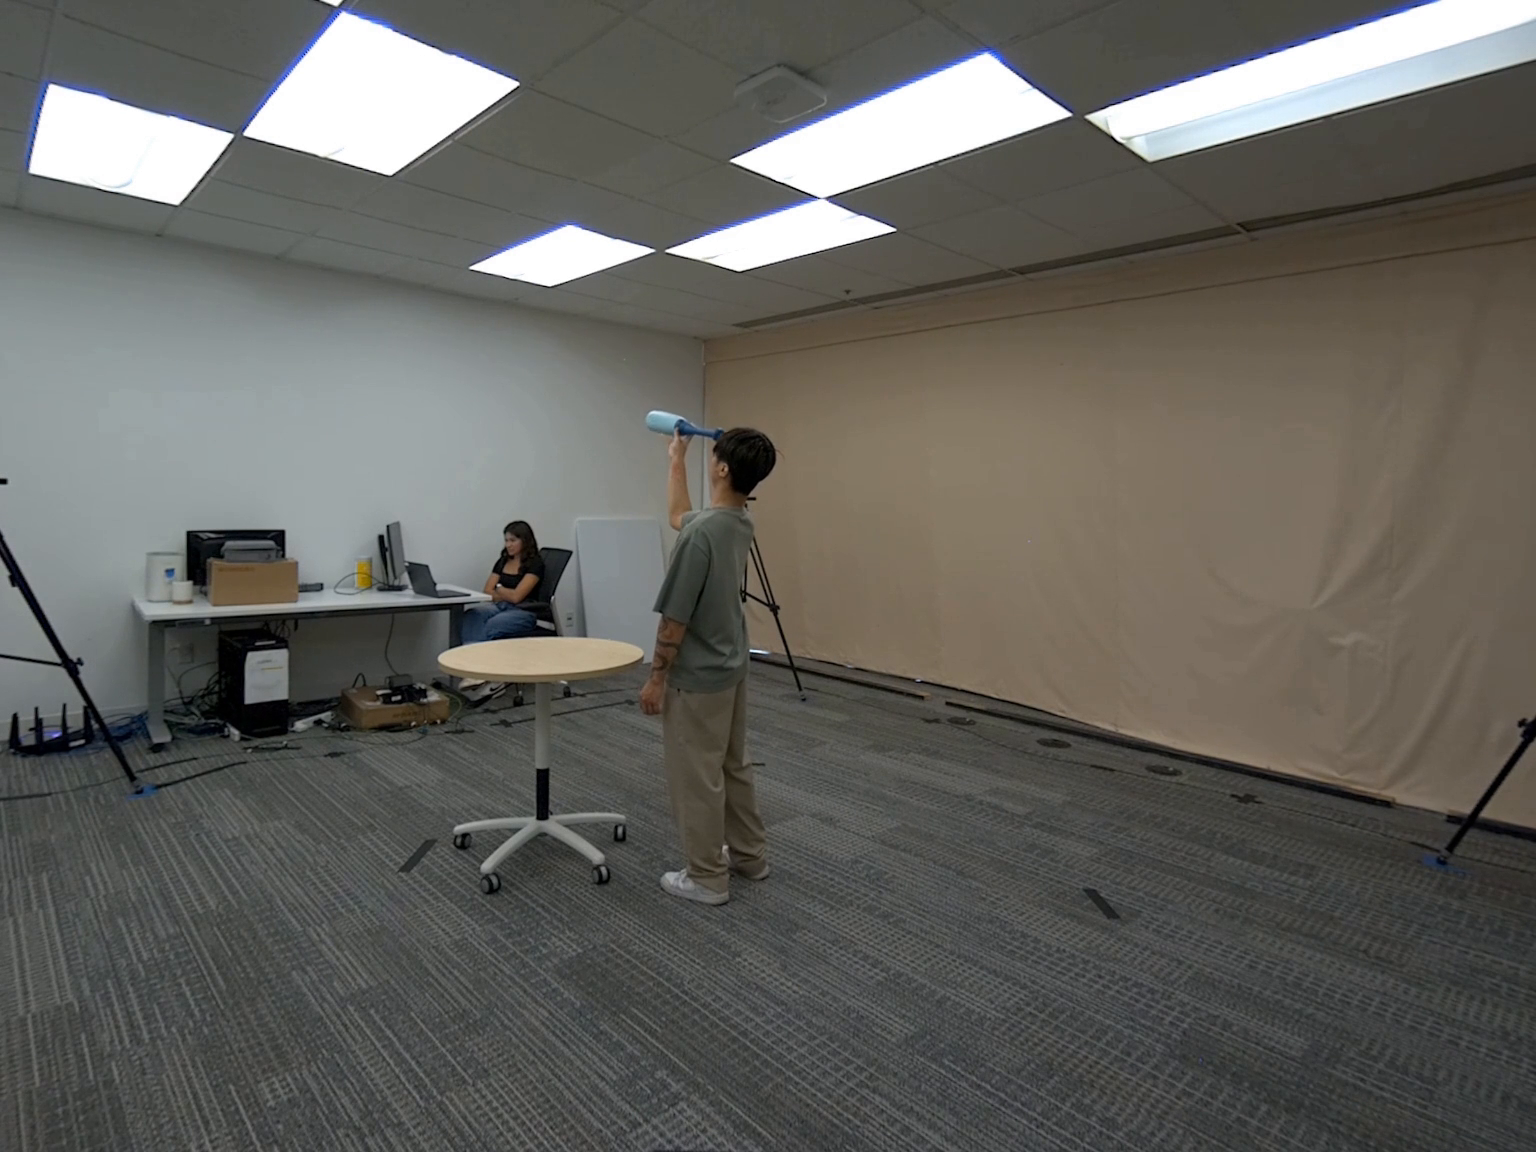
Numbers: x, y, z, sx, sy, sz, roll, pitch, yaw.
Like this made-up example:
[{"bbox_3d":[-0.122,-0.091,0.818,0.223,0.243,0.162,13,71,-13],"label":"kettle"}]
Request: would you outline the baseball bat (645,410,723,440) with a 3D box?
[{"bbox_3d":[-0.326,-0.573,3.253,0.087,0.088,0.559,-1,16,-32],"label":"baseball bat"}]
